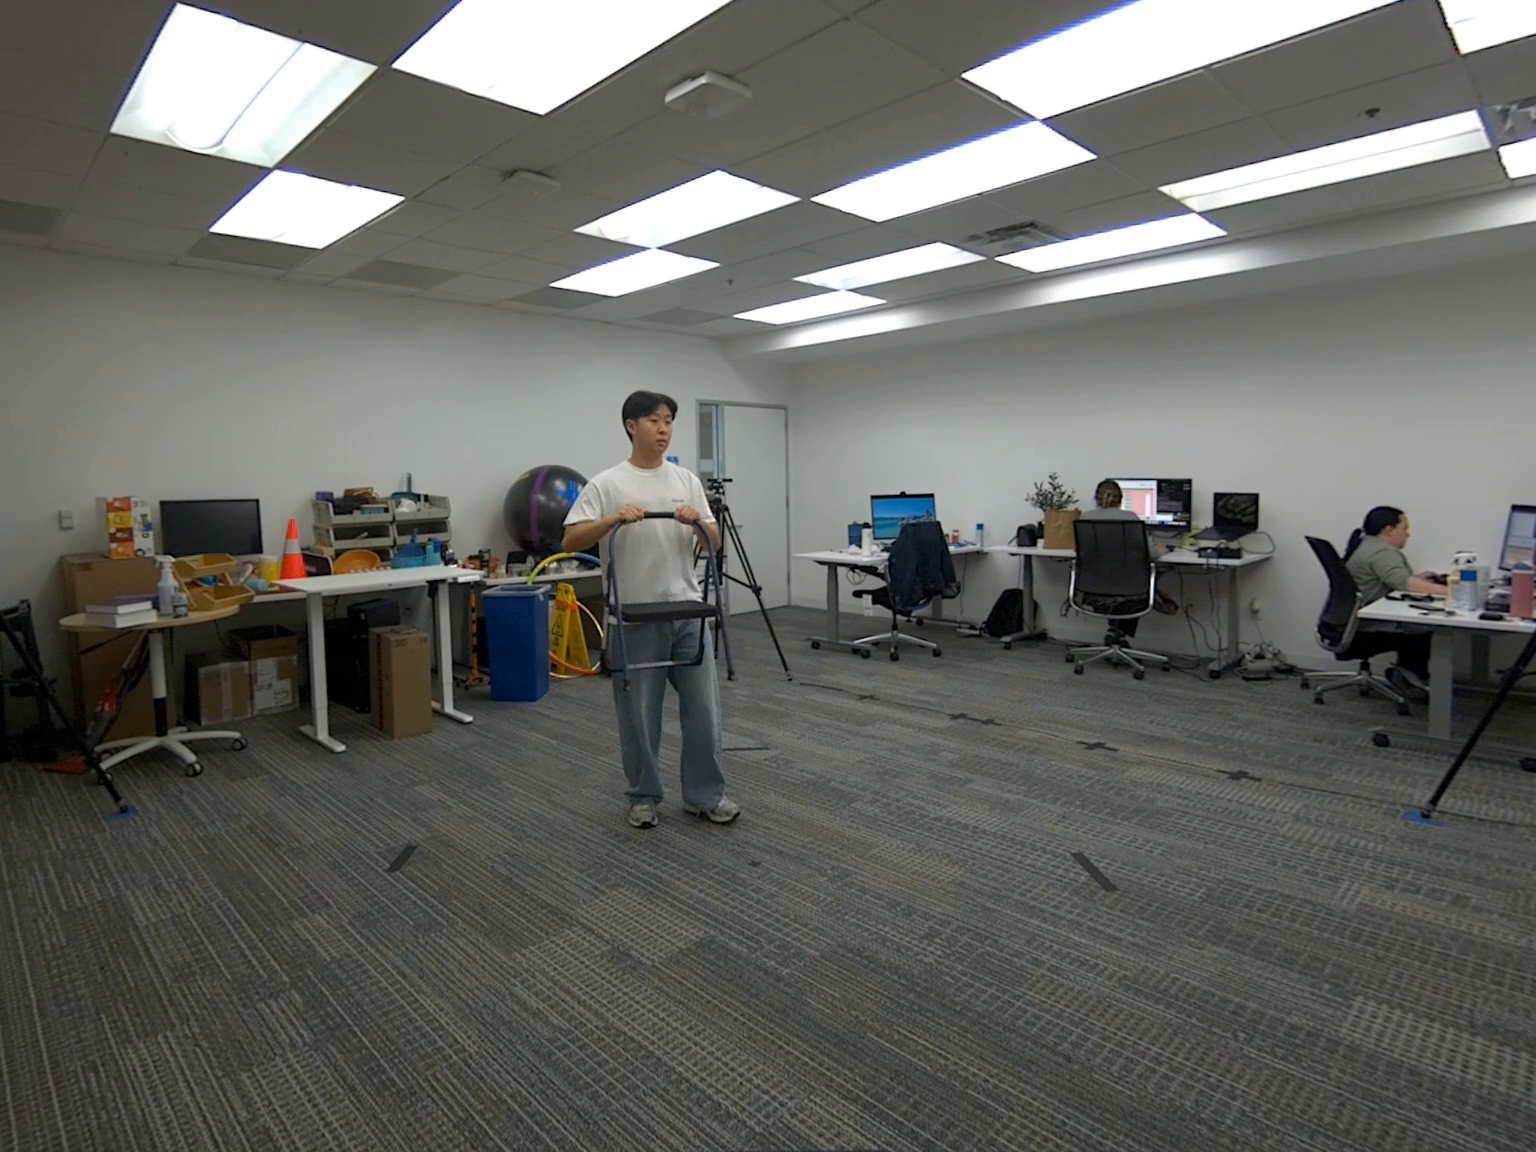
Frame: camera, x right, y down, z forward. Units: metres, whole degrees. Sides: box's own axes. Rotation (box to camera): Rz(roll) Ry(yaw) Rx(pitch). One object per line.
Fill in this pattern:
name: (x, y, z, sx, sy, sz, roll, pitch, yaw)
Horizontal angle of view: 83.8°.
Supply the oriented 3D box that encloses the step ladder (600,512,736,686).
step ladder: (-0.374, 0.074, 3.148, 0.421, 0.605, 0.358, -2, 3, -26)
